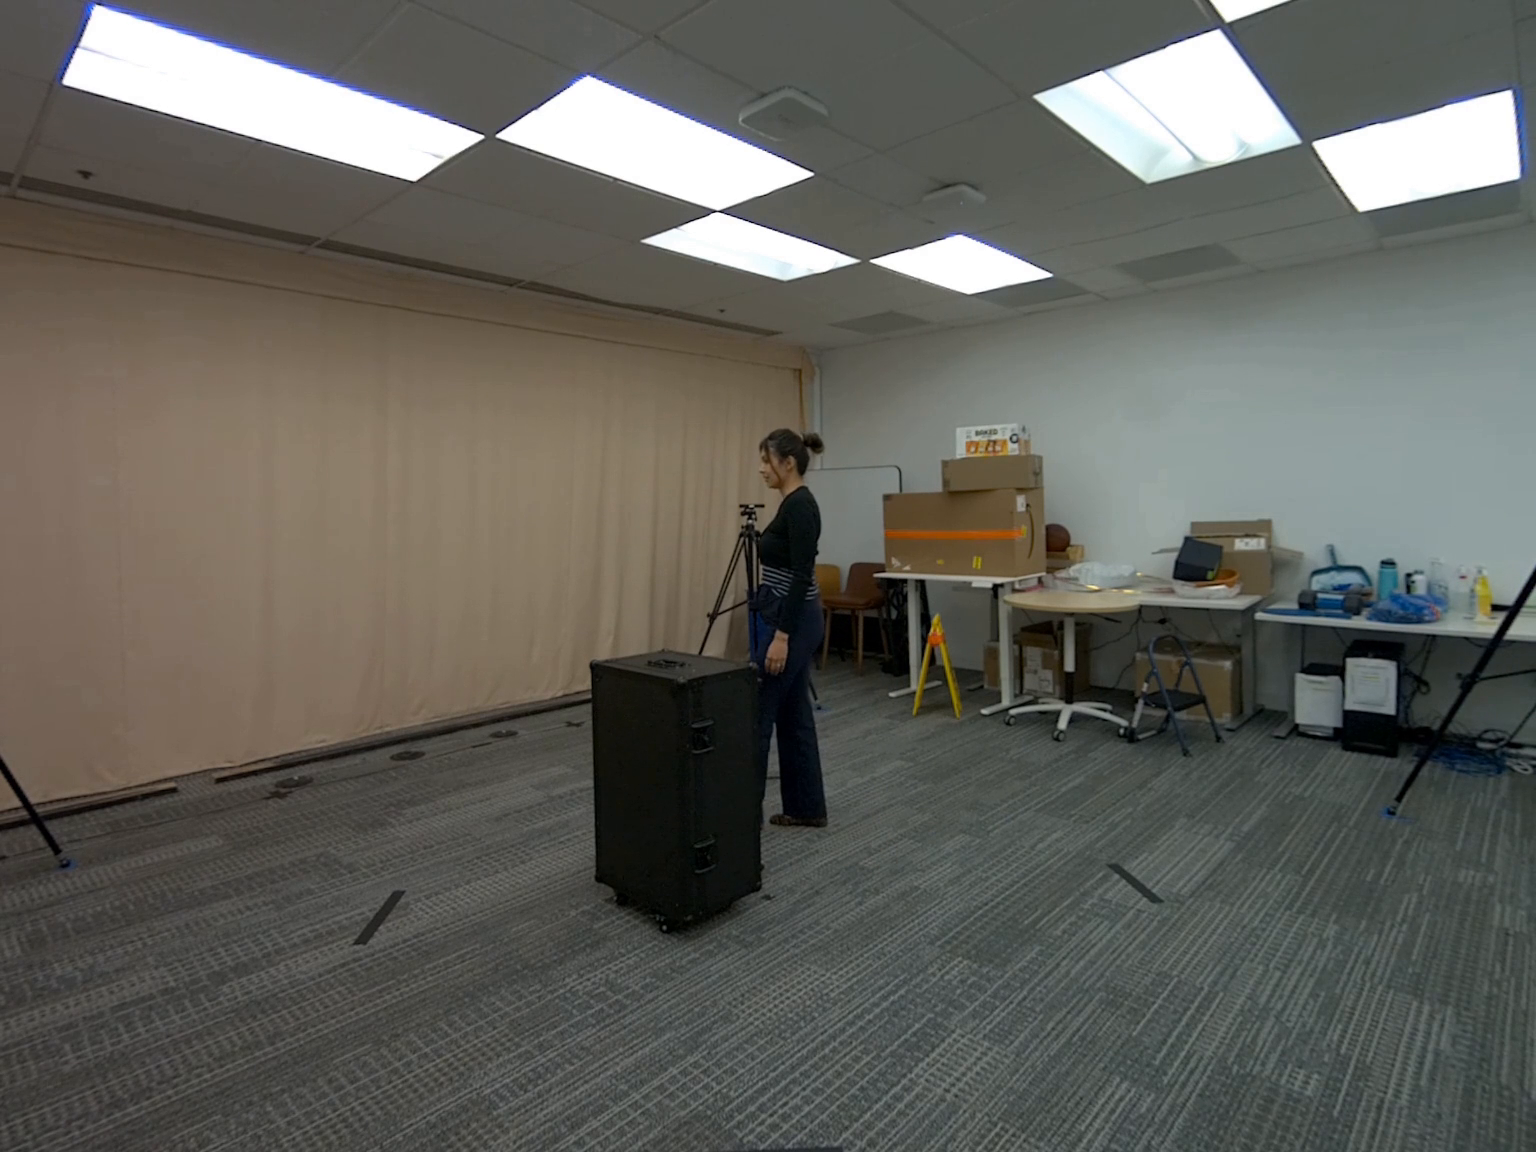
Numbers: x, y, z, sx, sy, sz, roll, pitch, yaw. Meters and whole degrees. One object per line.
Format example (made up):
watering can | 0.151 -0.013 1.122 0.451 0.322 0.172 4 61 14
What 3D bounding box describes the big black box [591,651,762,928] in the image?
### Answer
big black box | -0.313 0.671 2.926 0.538 0.860 0.384 2 4 44
